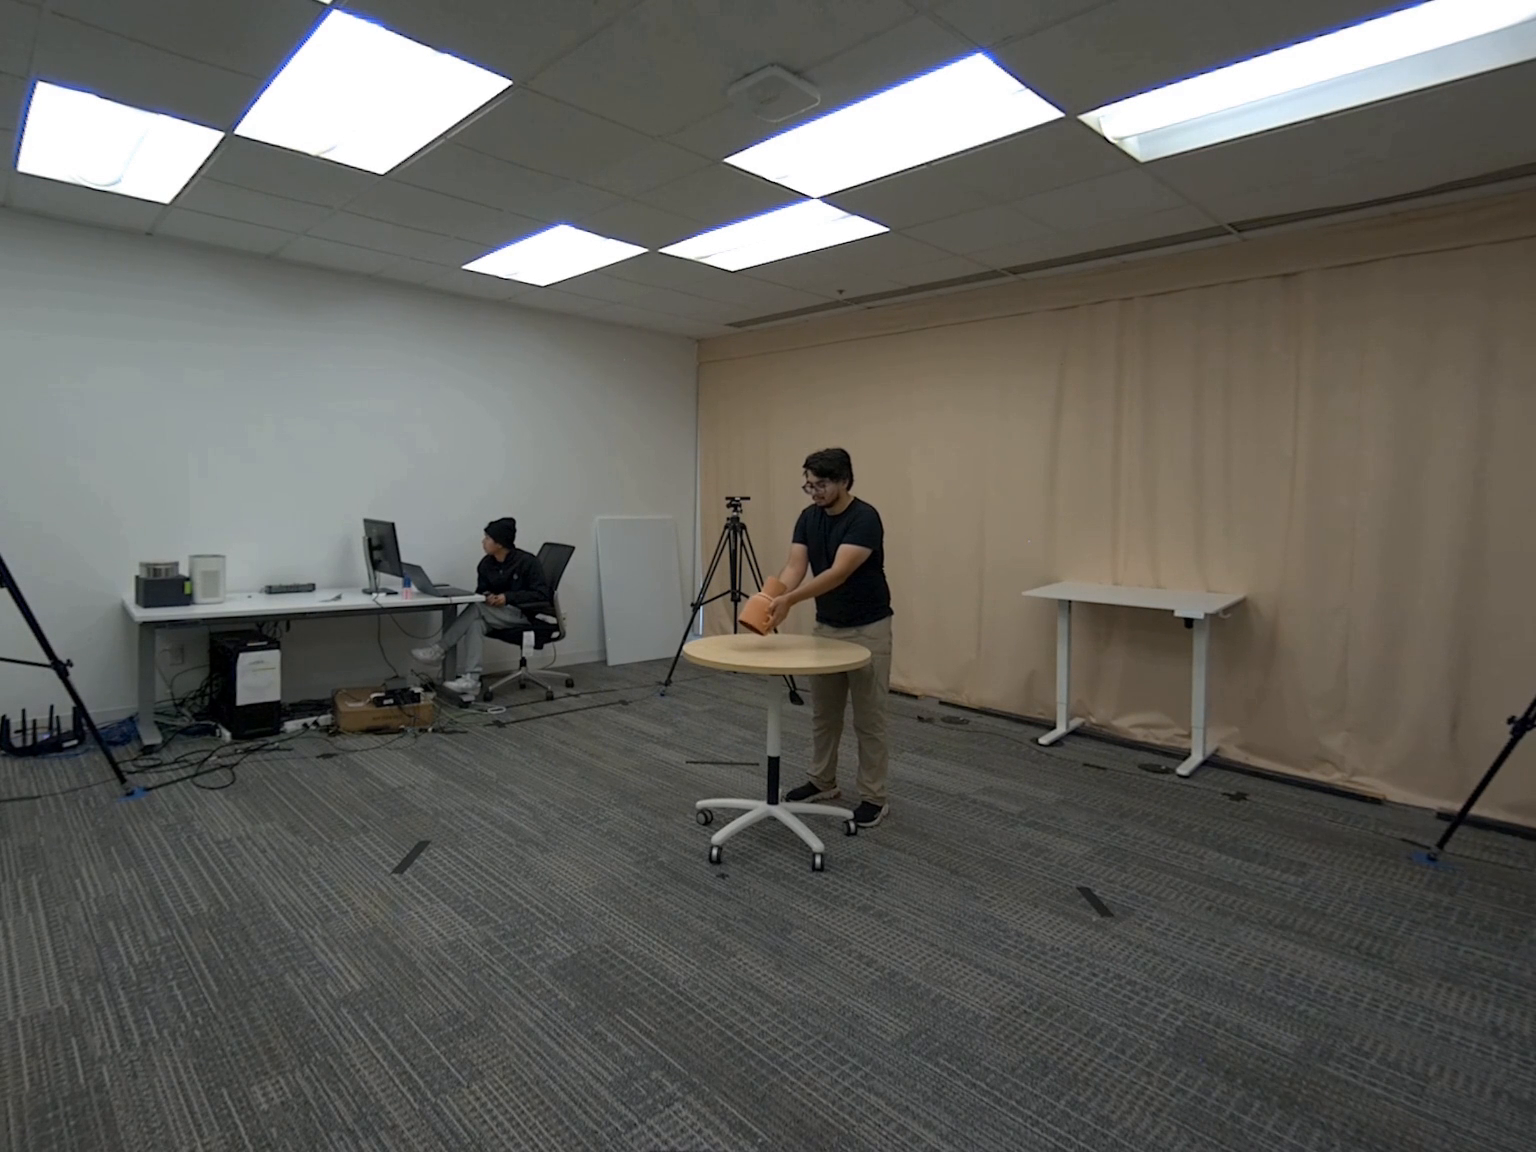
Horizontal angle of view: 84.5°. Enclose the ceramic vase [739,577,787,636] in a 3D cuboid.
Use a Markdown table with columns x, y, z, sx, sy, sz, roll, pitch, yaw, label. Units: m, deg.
| x | y | z | sx | sy | sz | roll | pitch | yaw | label |
| --- | --- | --- | --- | --- | --- | --- | --- | --- | --- |
| -0.017 | 0.118 | 3.446 | 0.162 | 0.220 | 0.131 | 26 | -15 | 20 | ceramic vase |
